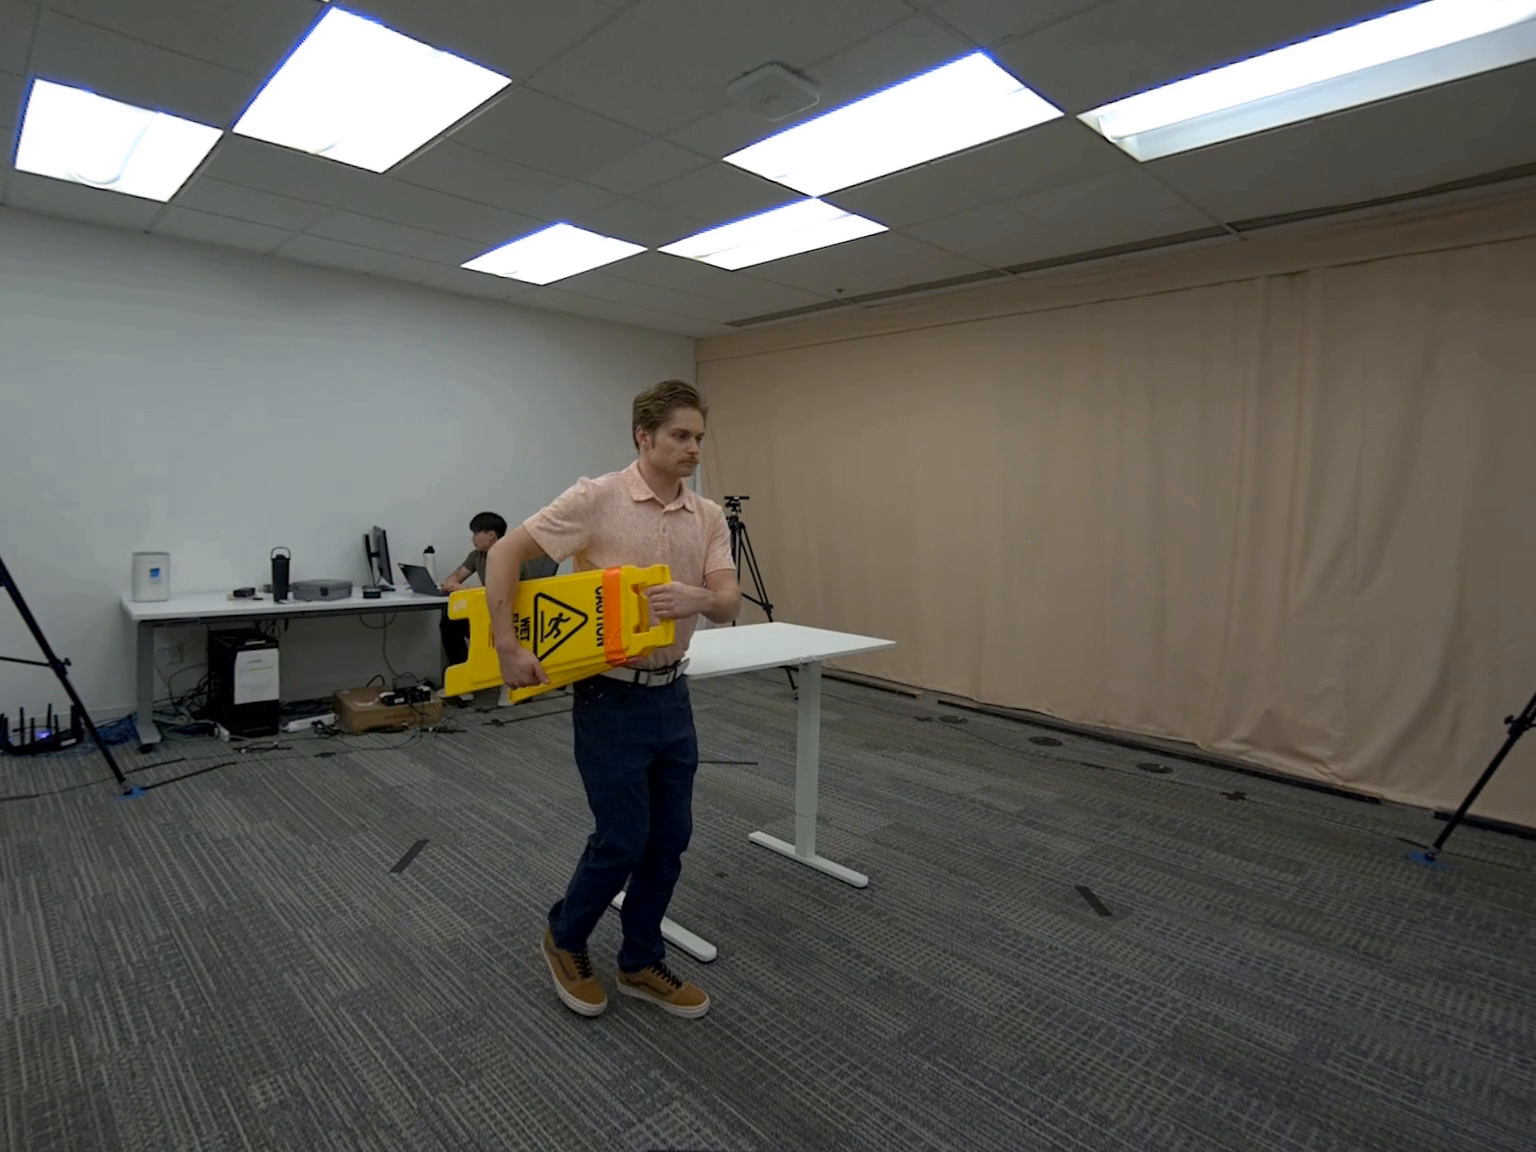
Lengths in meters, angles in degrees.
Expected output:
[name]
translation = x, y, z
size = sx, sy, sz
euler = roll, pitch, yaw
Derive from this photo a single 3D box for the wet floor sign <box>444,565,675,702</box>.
[wet floor sign]
translation = -0.520, 0.144, 2.135
size = 0.656, 0.286, 0.281
euler = -14, -18, 31
